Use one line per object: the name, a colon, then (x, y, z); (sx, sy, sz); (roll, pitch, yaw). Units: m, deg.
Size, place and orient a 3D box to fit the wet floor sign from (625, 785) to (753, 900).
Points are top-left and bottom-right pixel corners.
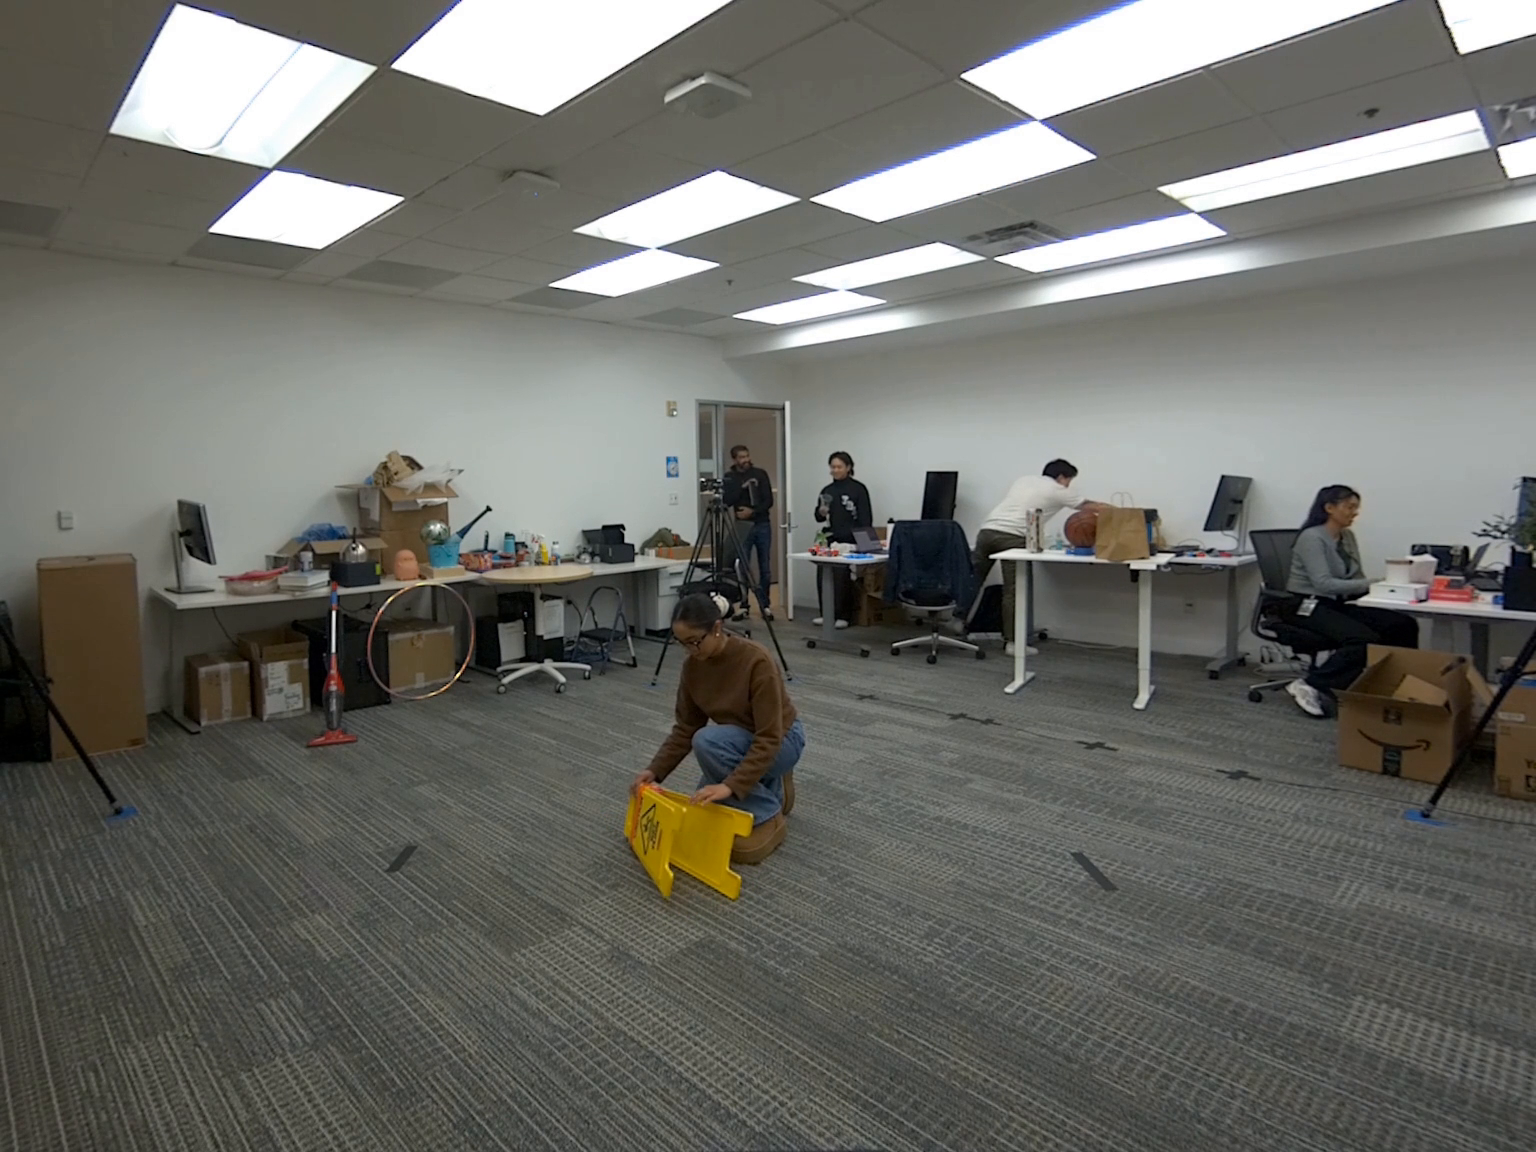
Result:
wet floor sign: (-0.360, 0.912, 3.071); (0.281, 0.284, 0.662); (15, -8, -31)
